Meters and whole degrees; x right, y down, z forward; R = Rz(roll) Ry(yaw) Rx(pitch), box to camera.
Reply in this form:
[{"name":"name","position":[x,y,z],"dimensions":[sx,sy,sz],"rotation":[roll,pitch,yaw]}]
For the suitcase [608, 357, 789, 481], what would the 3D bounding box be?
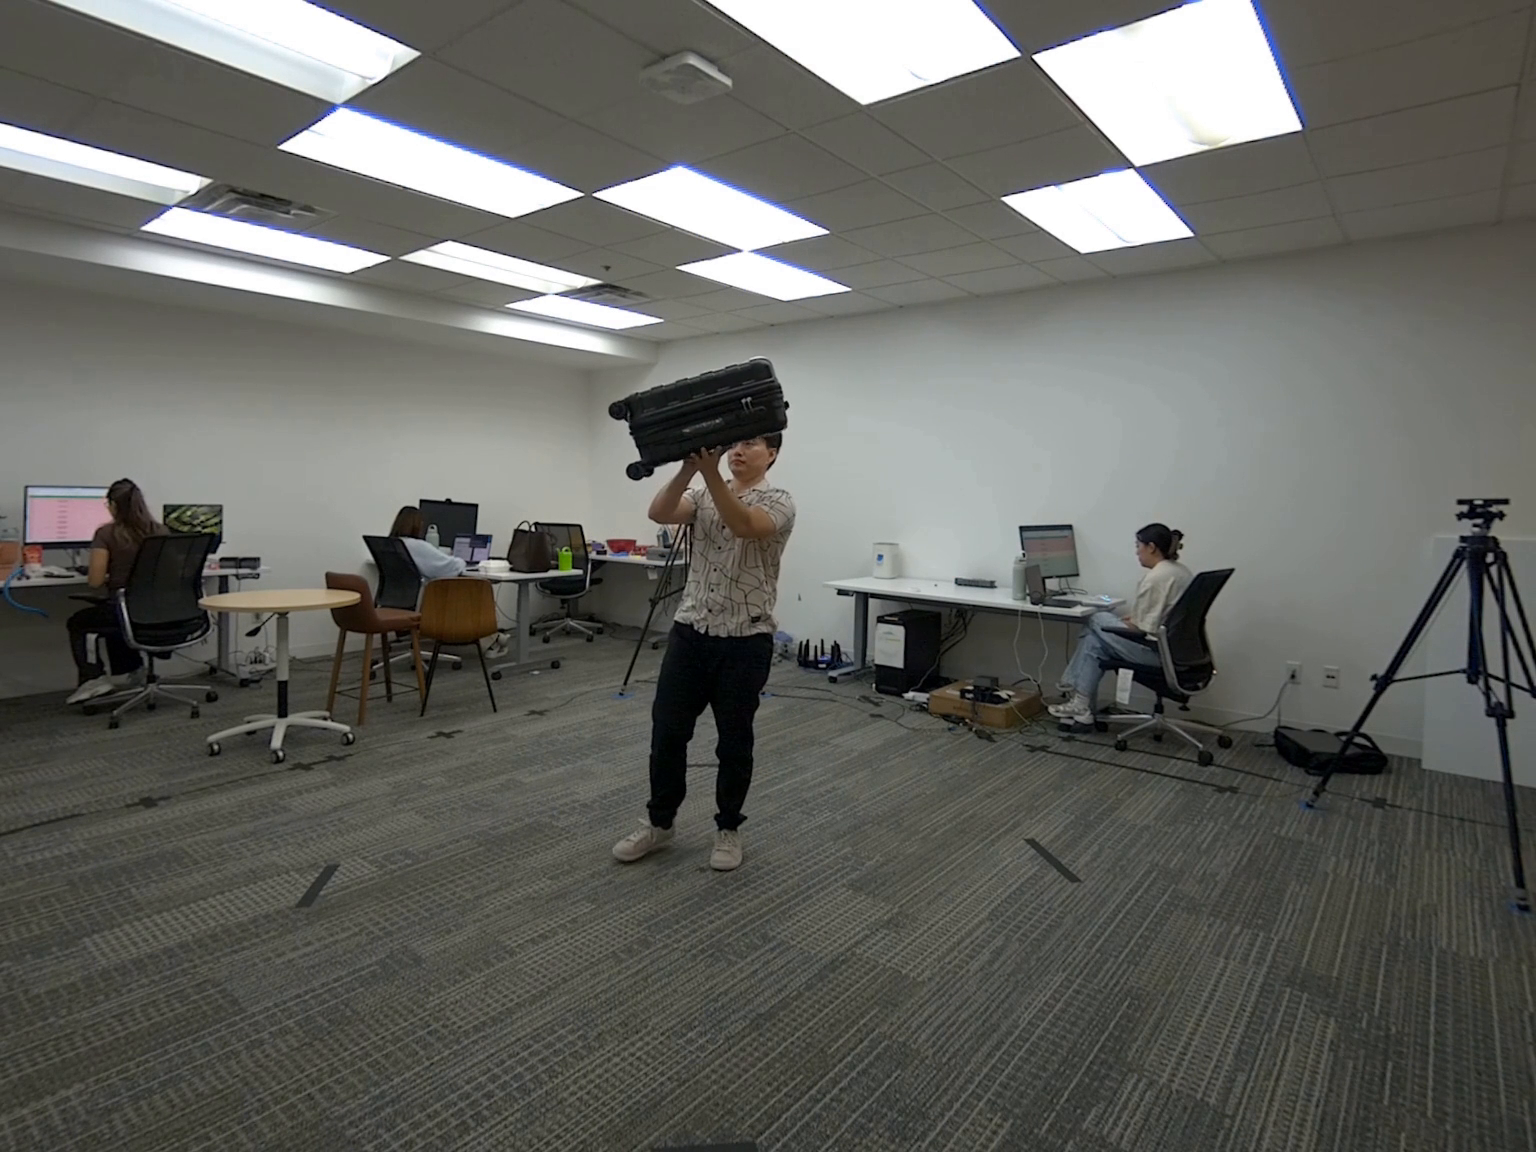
[{"name":"suitcase","position":[-0.225,-0.533,2.797],"dimensions":[0.551,0.247,0.377],"rotation":[-16,7,4]}]
